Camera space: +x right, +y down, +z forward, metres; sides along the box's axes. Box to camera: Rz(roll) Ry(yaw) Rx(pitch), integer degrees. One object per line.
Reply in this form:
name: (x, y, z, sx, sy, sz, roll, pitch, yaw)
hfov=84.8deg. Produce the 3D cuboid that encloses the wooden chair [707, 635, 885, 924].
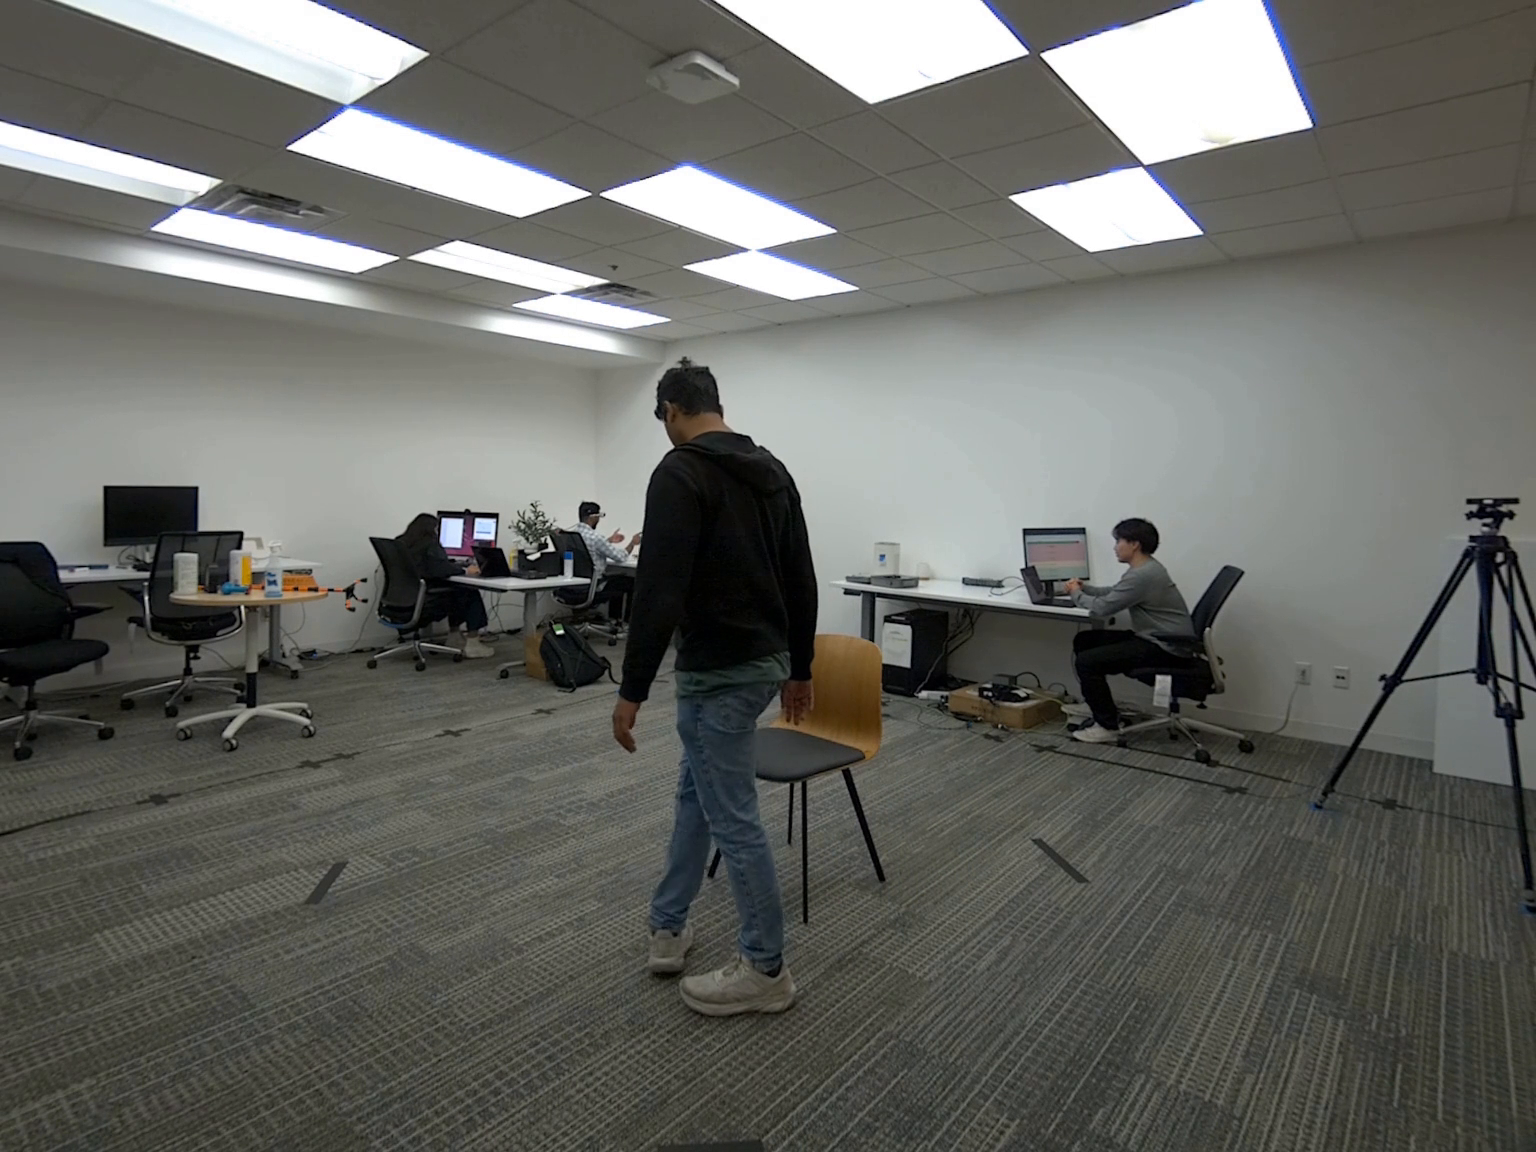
wooden chair: (0.101, 0.657, 3.012, 0.494, 0.877, 0.505, 5, 1, 44)
